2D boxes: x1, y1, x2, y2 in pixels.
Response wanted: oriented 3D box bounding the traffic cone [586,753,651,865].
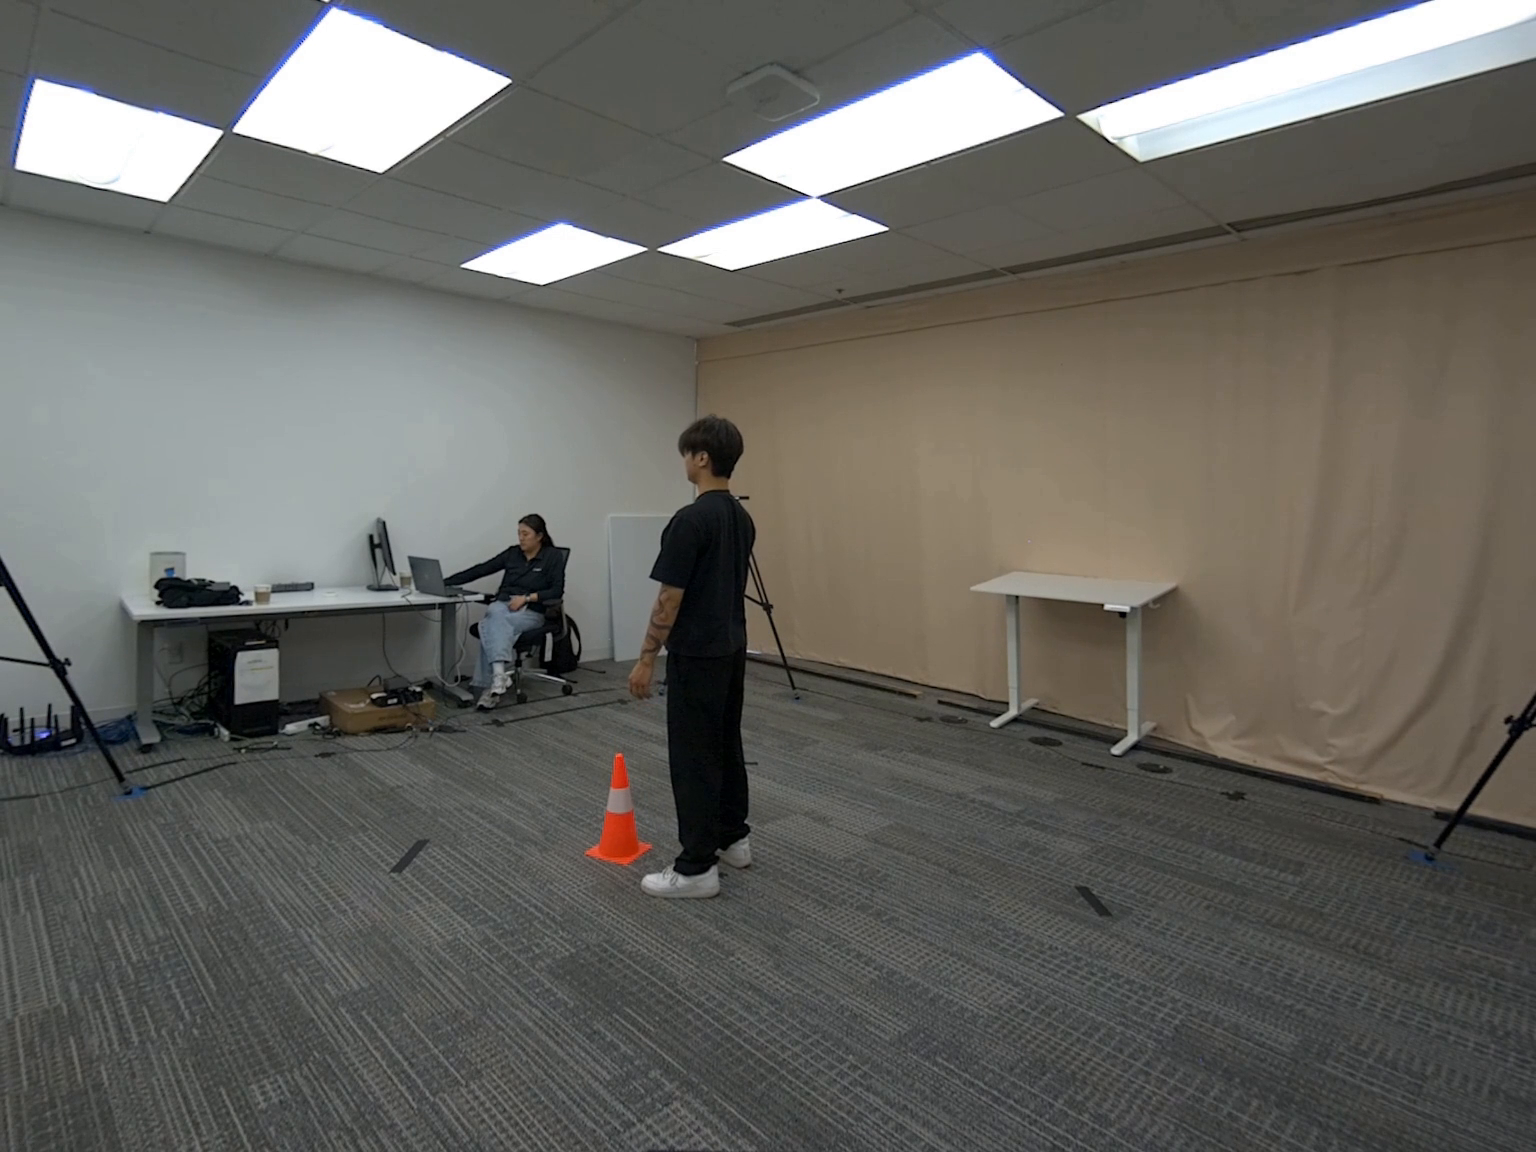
[{"bbox_3d":[-0.585,0.885,3.290,0.209,0.383,0.200,3,4,25],"label":"traffic cone"}]
